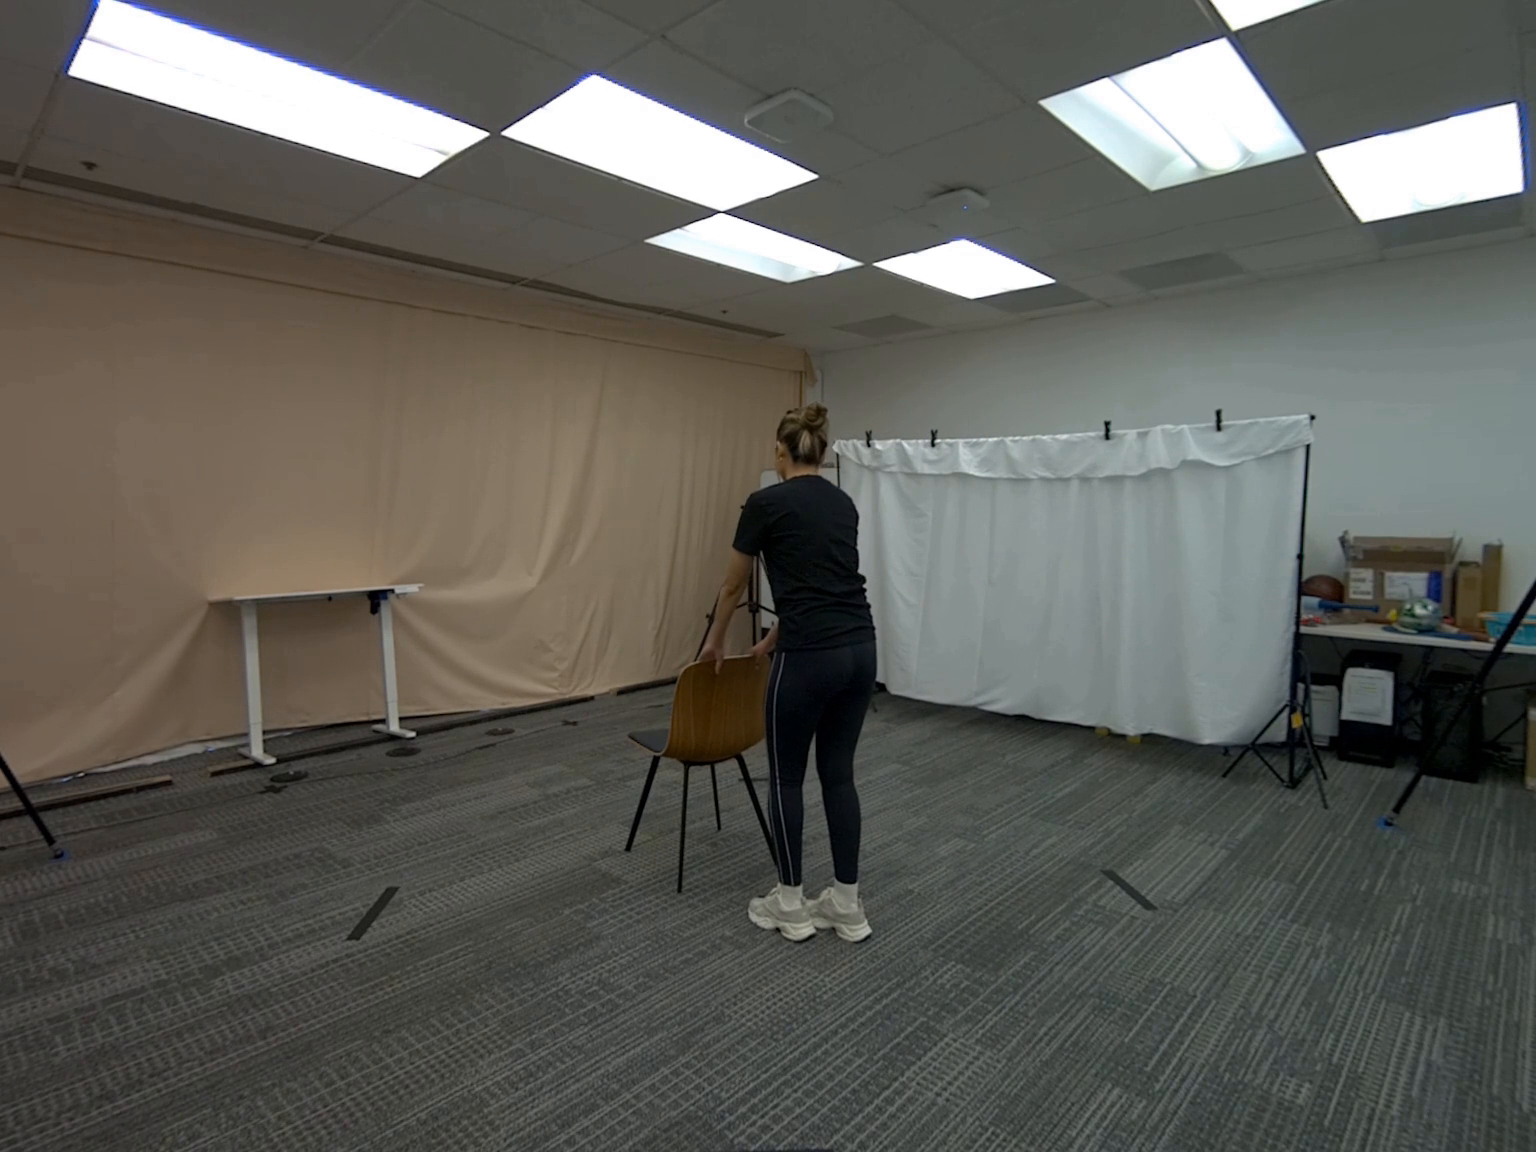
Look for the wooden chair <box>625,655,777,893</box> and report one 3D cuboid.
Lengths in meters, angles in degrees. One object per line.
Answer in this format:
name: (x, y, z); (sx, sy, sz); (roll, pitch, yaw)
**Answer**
wooden chair: (-0.272, 0.691, 3.310); (0.465, 0.874, 0.540); (-2, 8, -33)
